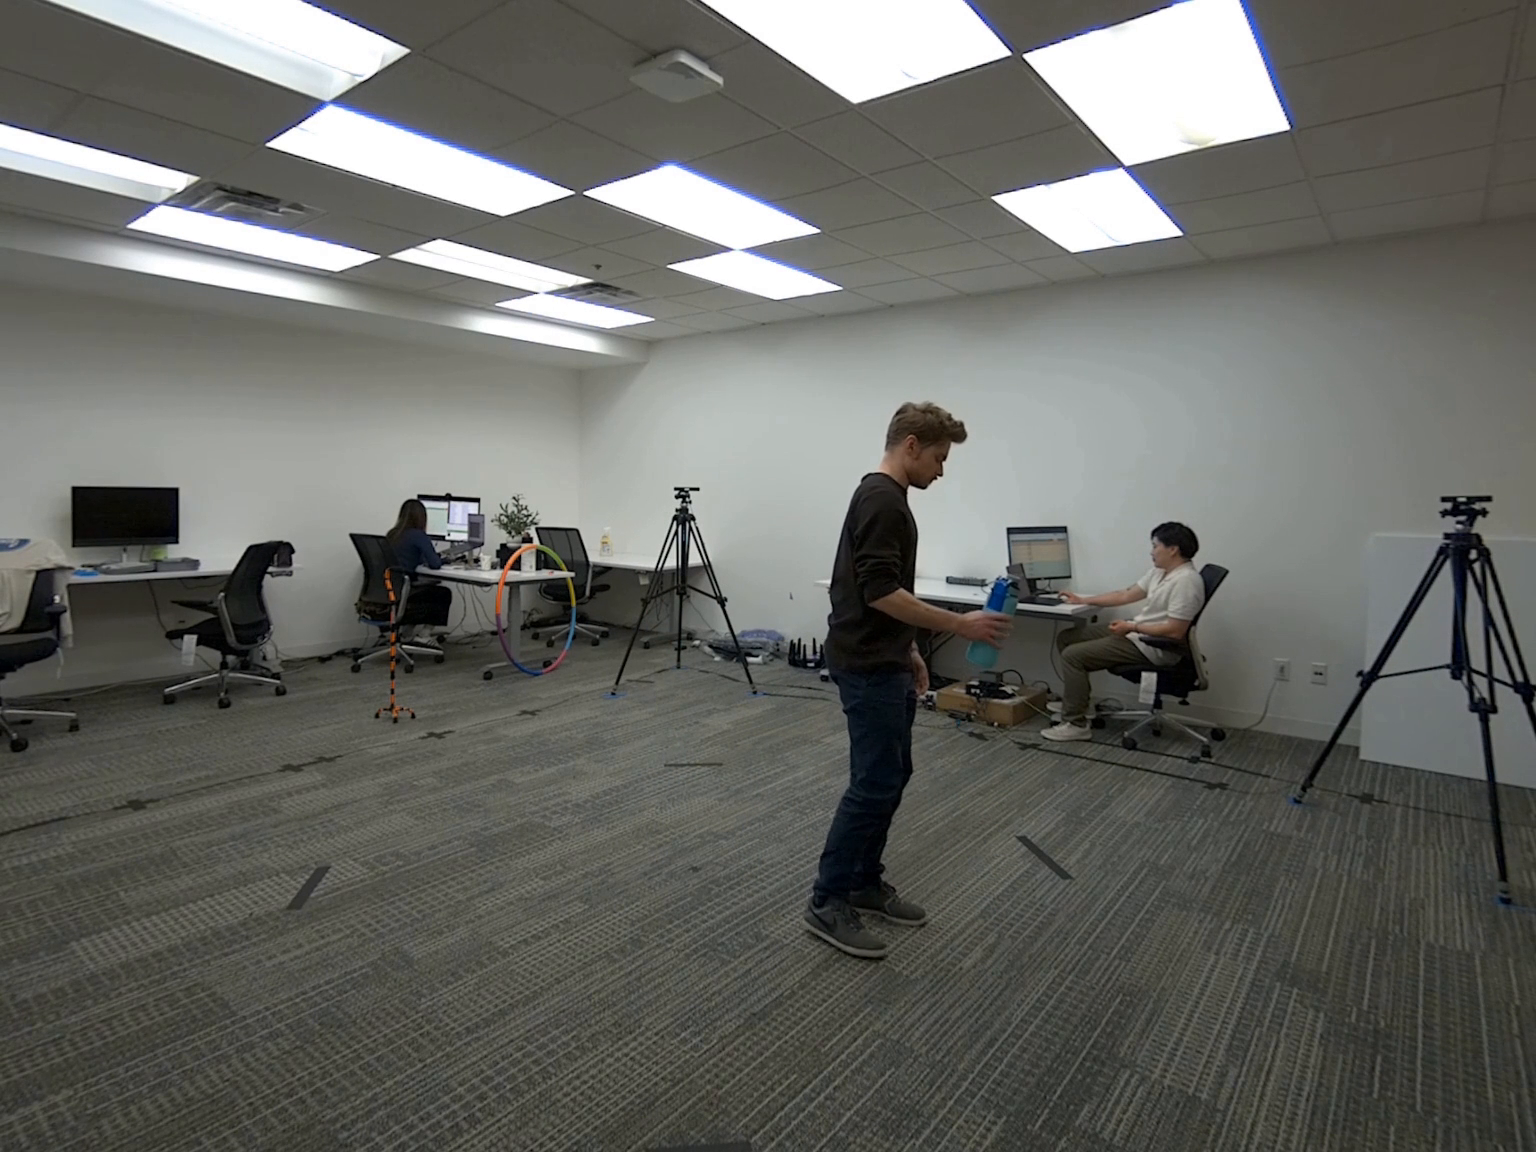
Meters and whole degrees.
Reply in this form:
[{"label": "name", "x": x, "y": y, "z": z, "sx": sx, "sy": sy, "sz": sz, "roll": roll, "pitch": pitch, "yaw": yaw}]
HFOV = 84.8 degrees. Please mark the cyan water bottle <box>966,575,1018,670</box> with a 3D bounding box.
[{"label": "cyan water bottle", "x": 0.682, "y": 0.131, "z": 2.566, "sx": 0.092, "sy": 0.282, "sz": 0.093, "roll": 16, "pitch": 8, "yaw": -4}]
